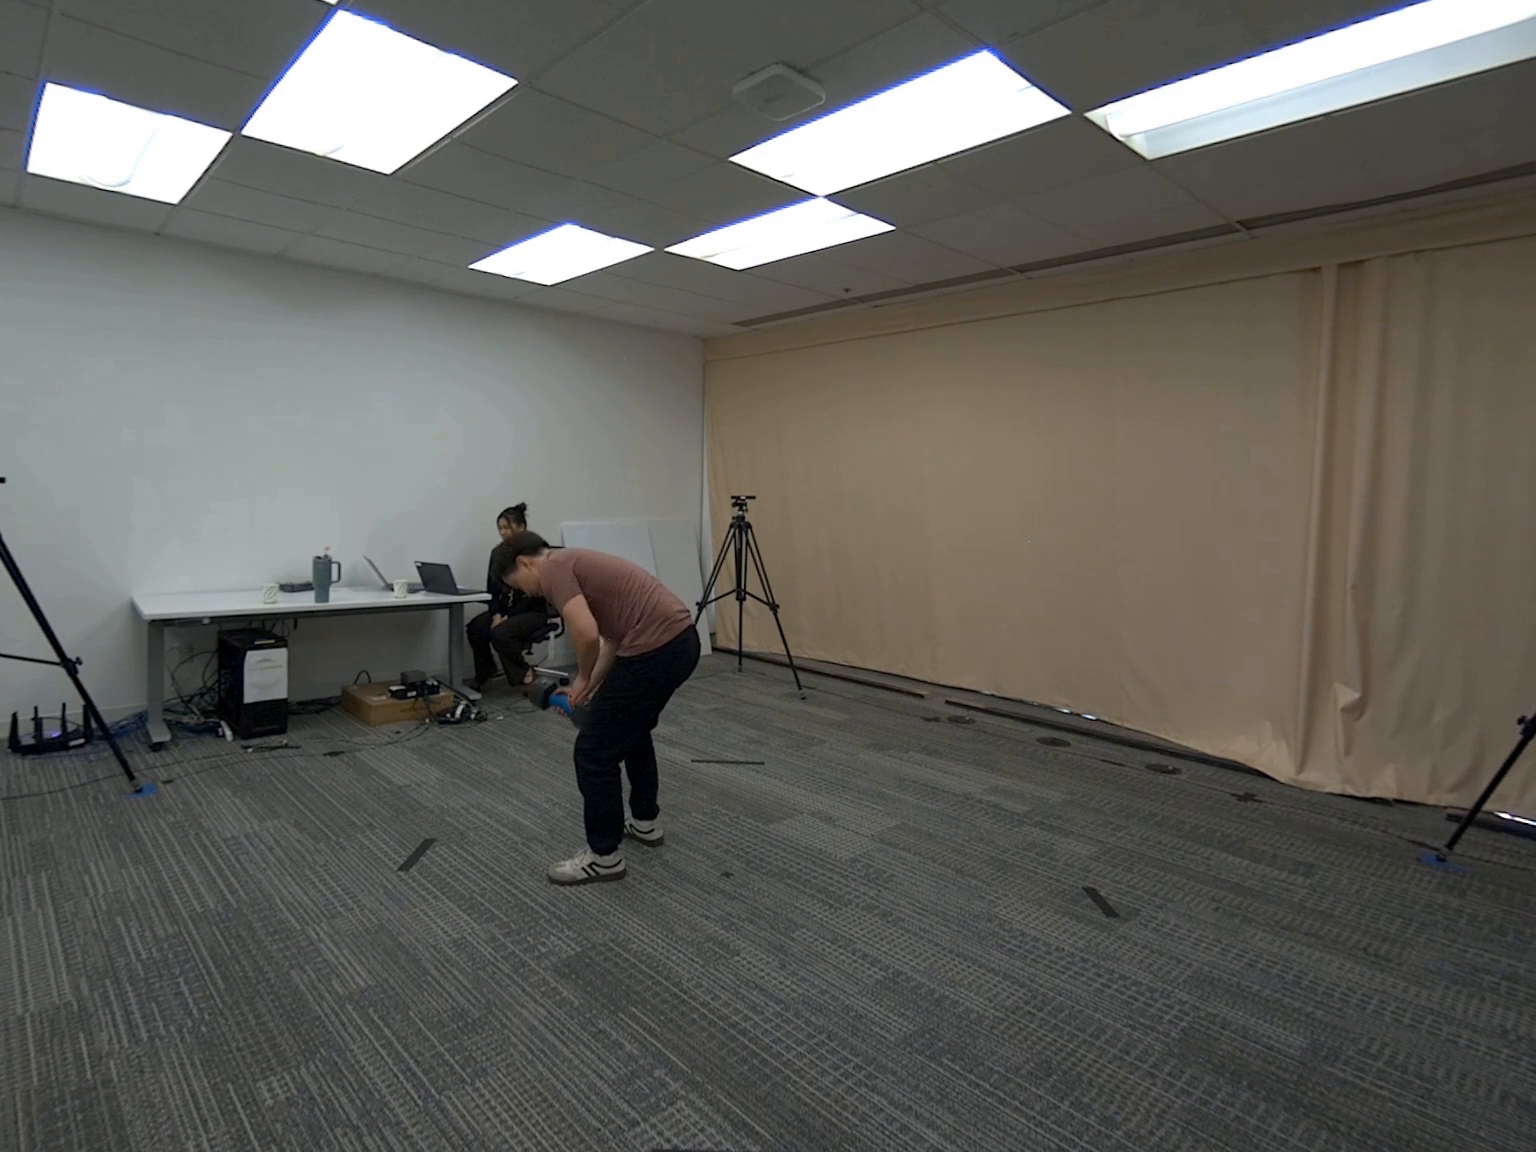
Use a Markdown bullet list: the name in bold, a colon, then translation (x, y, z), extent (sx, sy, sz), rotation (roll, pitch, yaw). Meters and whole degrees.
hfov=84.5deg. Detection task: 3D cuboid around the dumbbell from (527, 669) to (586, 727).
- **dumbbell**: translation (-0.798, 0.504, 3.280), extent (0.300, 0.107, 0.122), rotation (21, 30, 23)
